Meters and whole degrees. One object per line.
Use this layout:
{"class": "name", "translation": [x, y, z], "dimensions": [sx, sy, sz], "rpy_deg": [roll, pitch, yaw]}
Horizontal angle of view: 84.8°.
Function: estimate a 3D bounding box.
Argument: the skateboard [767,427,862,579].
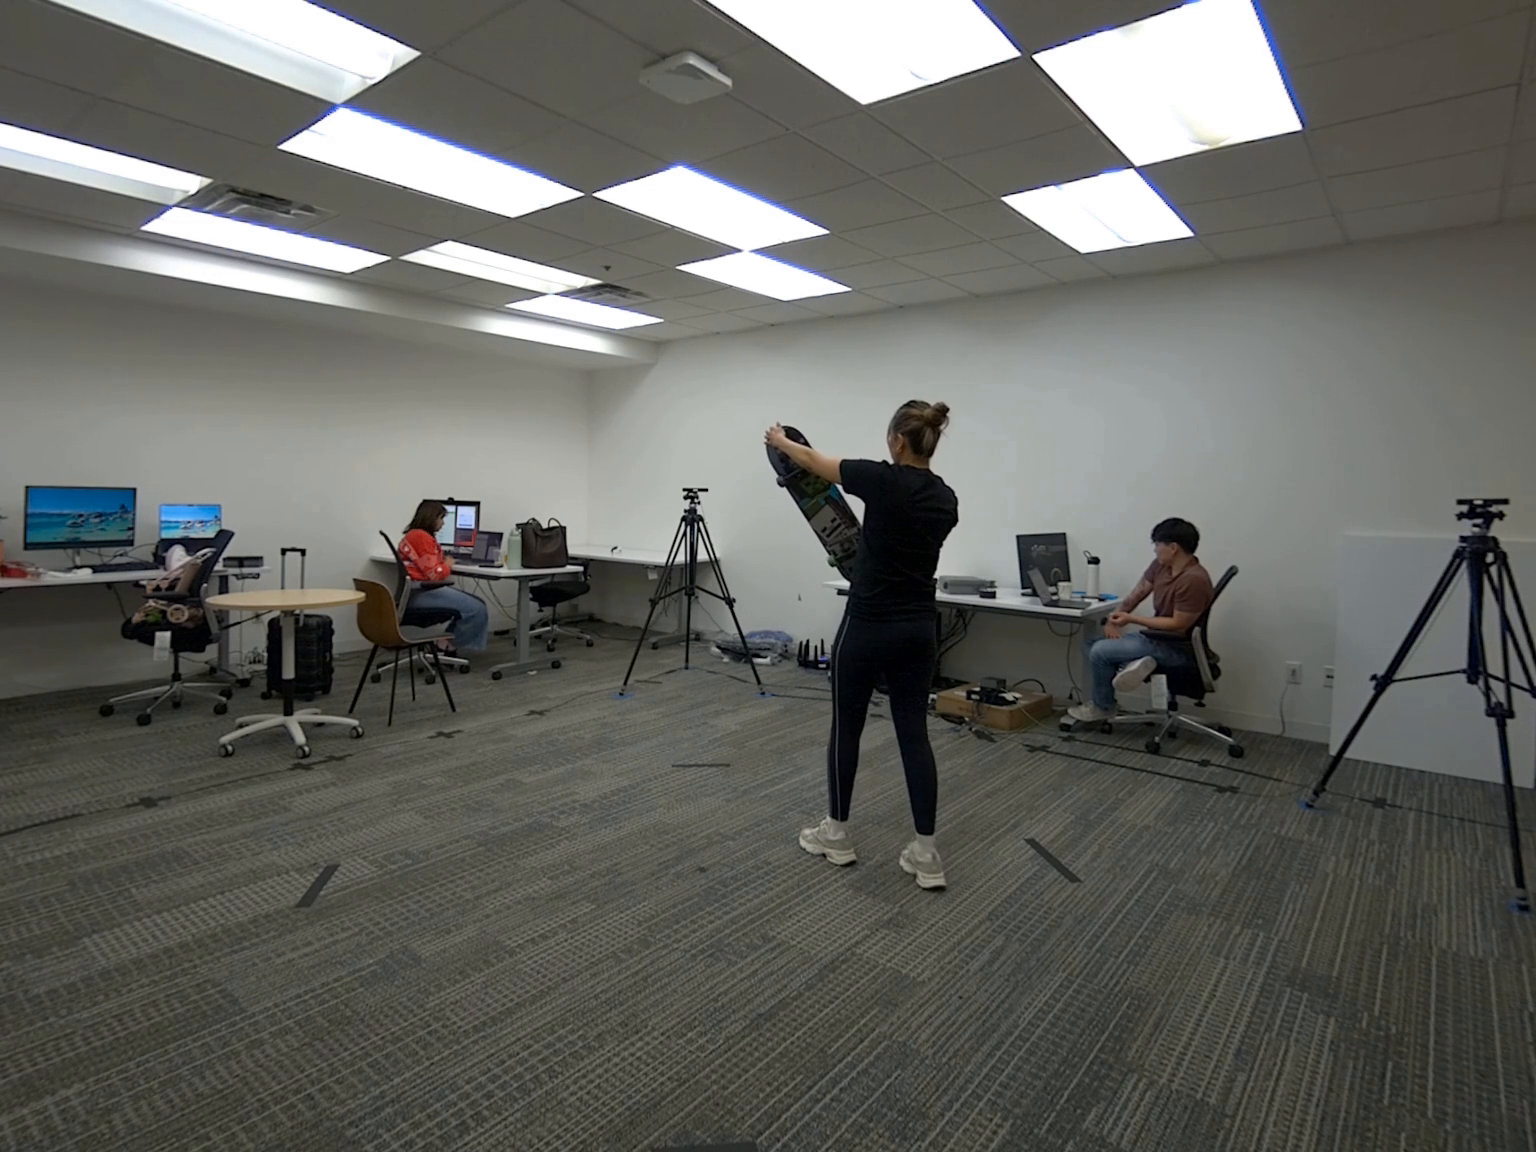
{"class": "skateboard", "translation": [0.223, -0.277, 3.532], "dimensions": [0.195, 0.779, 0.110], "rpy_deg": [-31, 6, 24]}
